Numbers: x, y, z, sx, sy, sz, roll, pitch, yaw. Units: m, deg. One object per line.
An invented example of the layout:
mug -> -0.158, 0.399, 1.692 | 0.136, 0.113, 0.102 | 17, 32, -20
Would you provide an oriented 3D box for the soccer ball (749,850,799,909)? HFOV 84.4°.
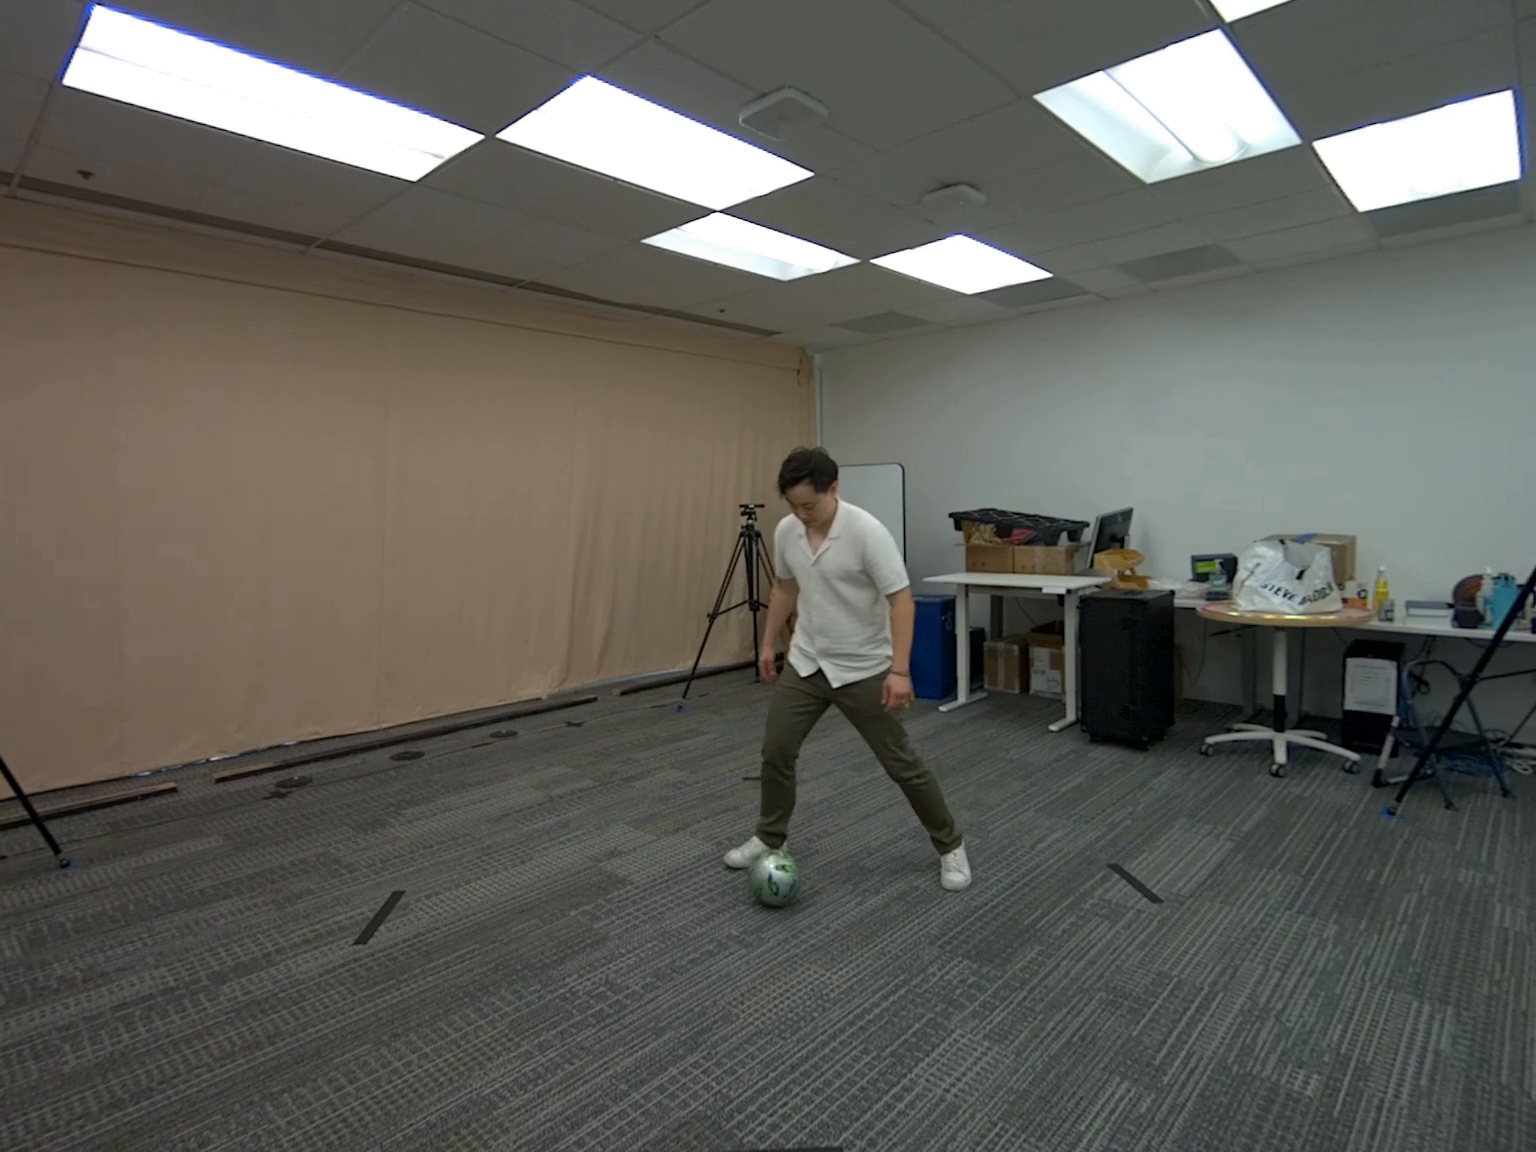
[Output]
soccer ball -> 0.018, 1.041, 2.934 | 0.187, 0.187, 0.188 | -1, 4, -2
